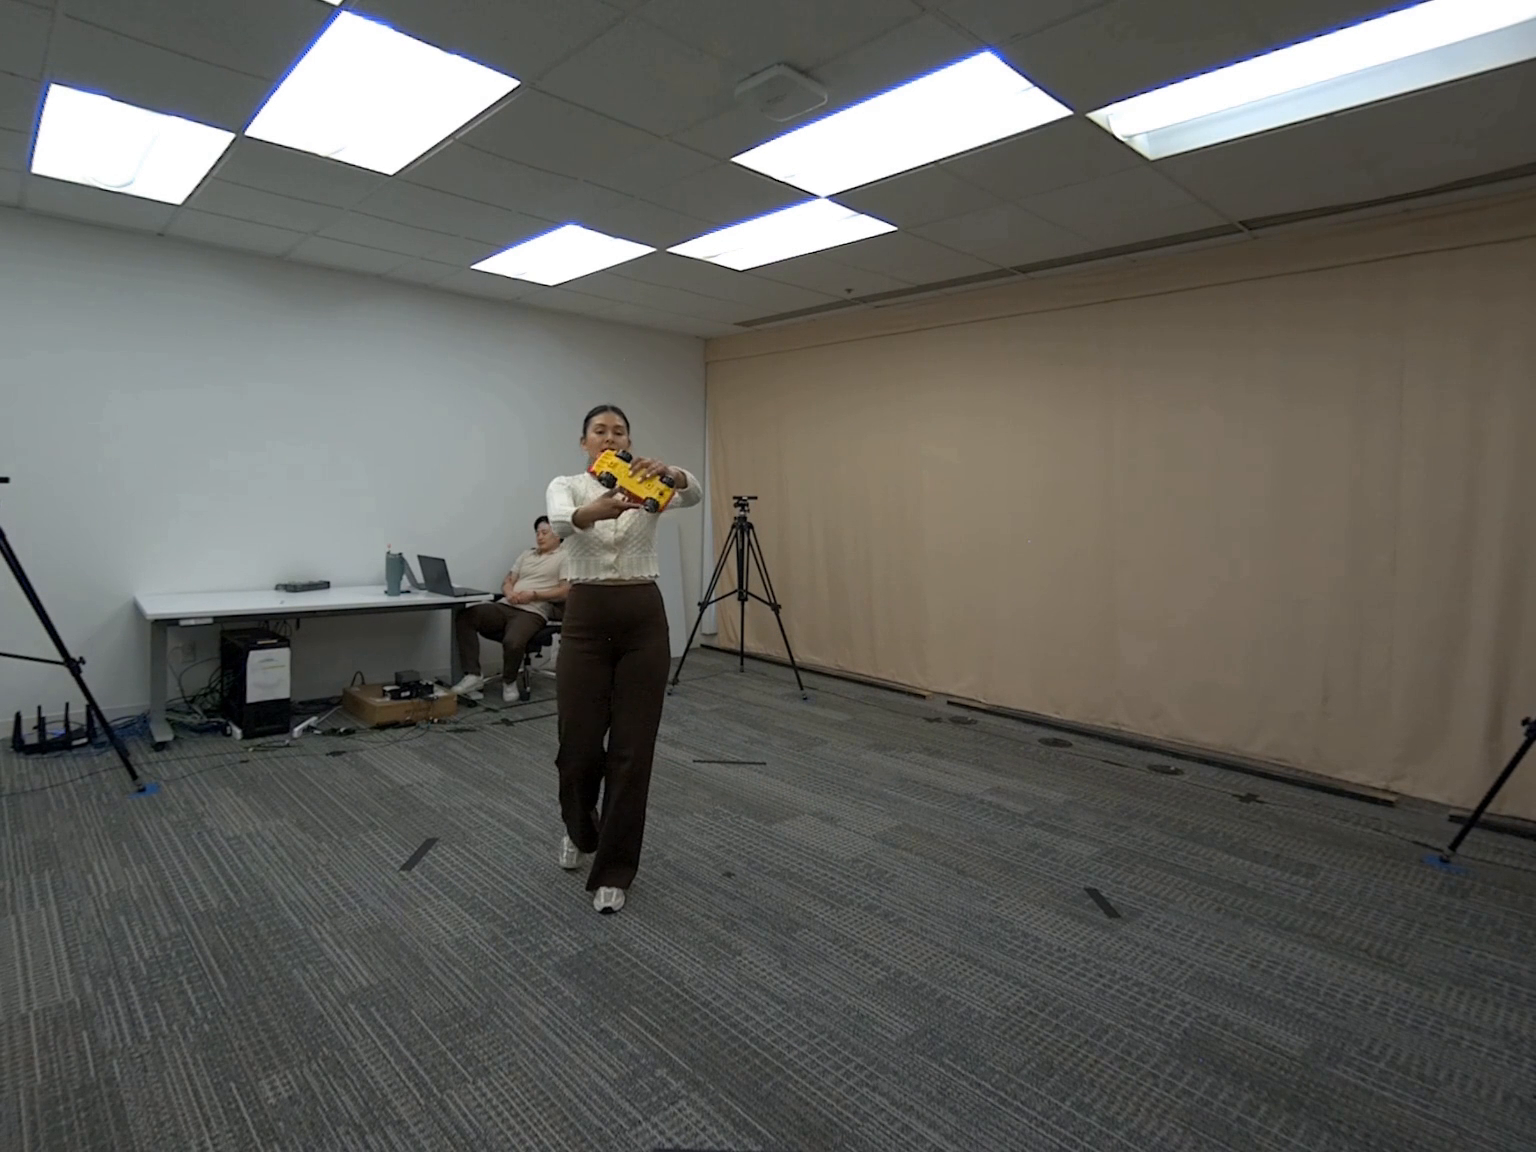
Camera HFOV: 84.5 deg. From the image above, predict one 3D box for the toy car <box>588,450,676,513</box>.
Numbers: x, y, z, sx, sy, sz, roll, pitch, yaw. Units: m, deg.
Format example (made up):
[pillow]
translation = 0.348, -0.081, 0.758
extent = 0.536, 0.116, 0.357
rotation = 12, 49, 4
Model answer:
[toy car]
translation = -0.405, -0.275, 2.386
extent = 0.258, 0.131, 0.081
rotation = 25, -28, 14
